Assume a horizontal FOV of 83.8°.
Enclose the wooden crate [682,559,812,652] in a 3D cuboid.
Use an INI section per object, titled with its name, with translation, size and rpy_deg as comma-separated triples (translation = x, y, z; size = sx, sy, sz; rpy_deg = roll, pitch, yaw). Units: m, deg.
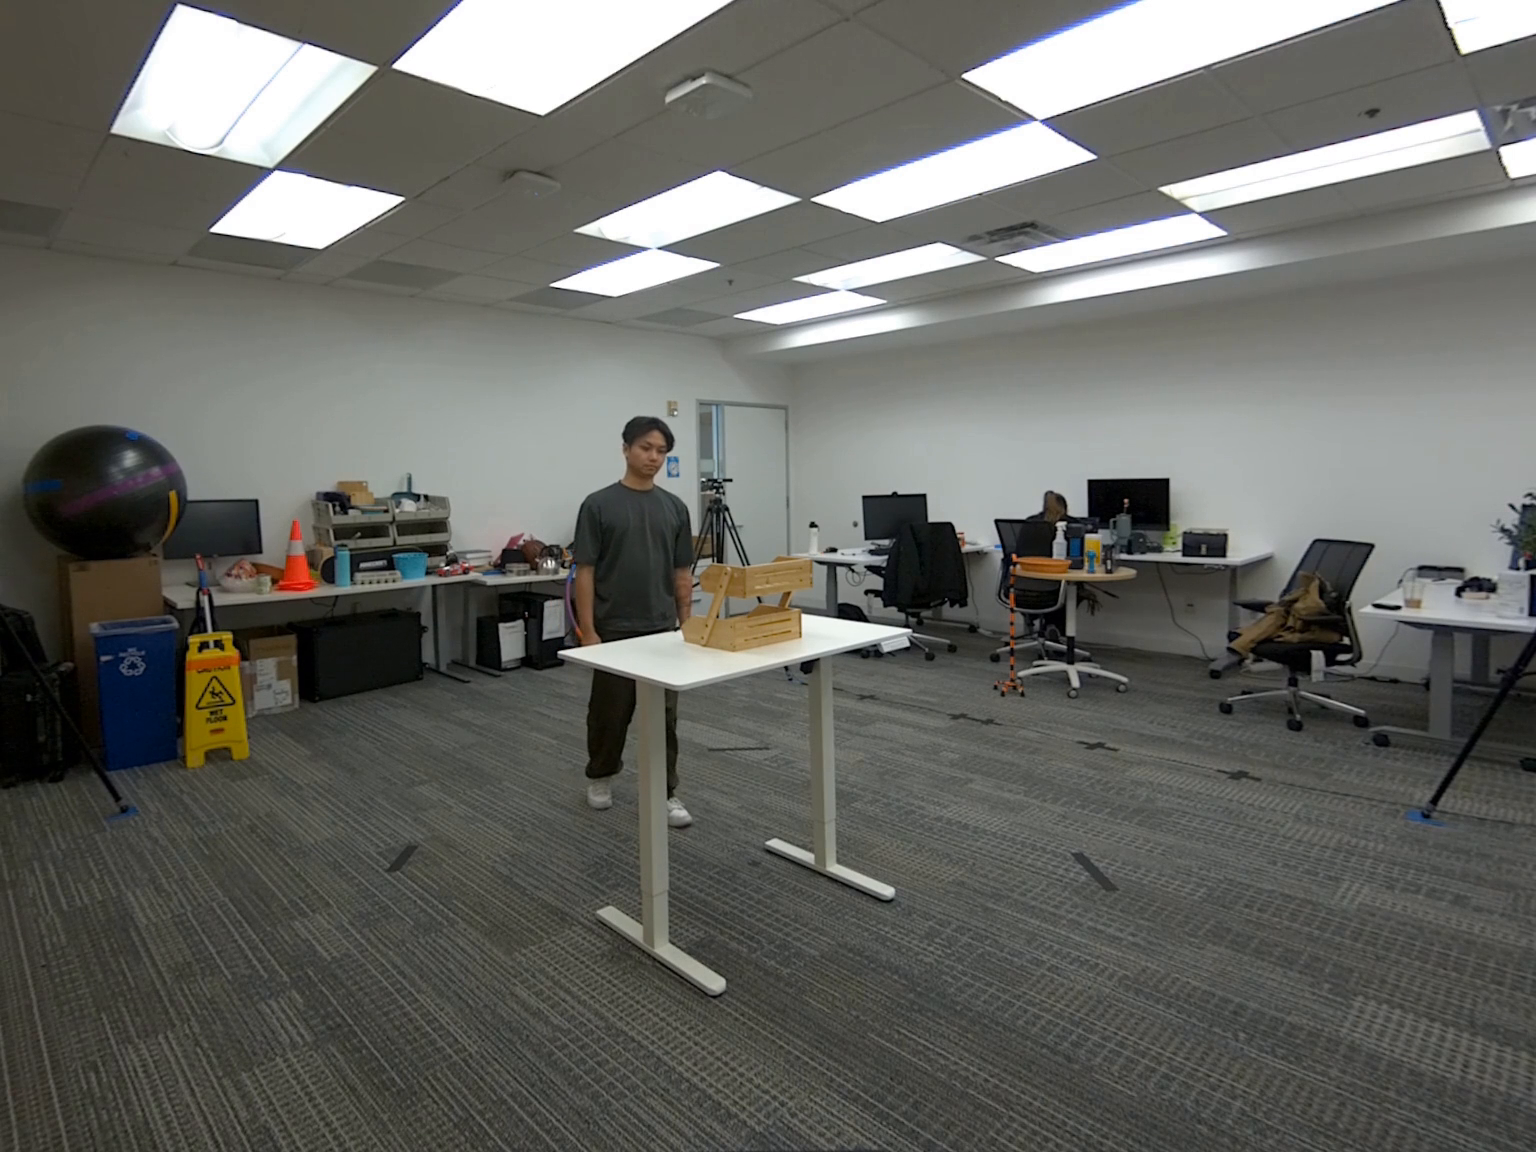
[wooden crate]
translation = -0.065, 0.074, 2.721
size = 0.316, 0.272, 0.311
rpy_deg = -7, 9, -43
